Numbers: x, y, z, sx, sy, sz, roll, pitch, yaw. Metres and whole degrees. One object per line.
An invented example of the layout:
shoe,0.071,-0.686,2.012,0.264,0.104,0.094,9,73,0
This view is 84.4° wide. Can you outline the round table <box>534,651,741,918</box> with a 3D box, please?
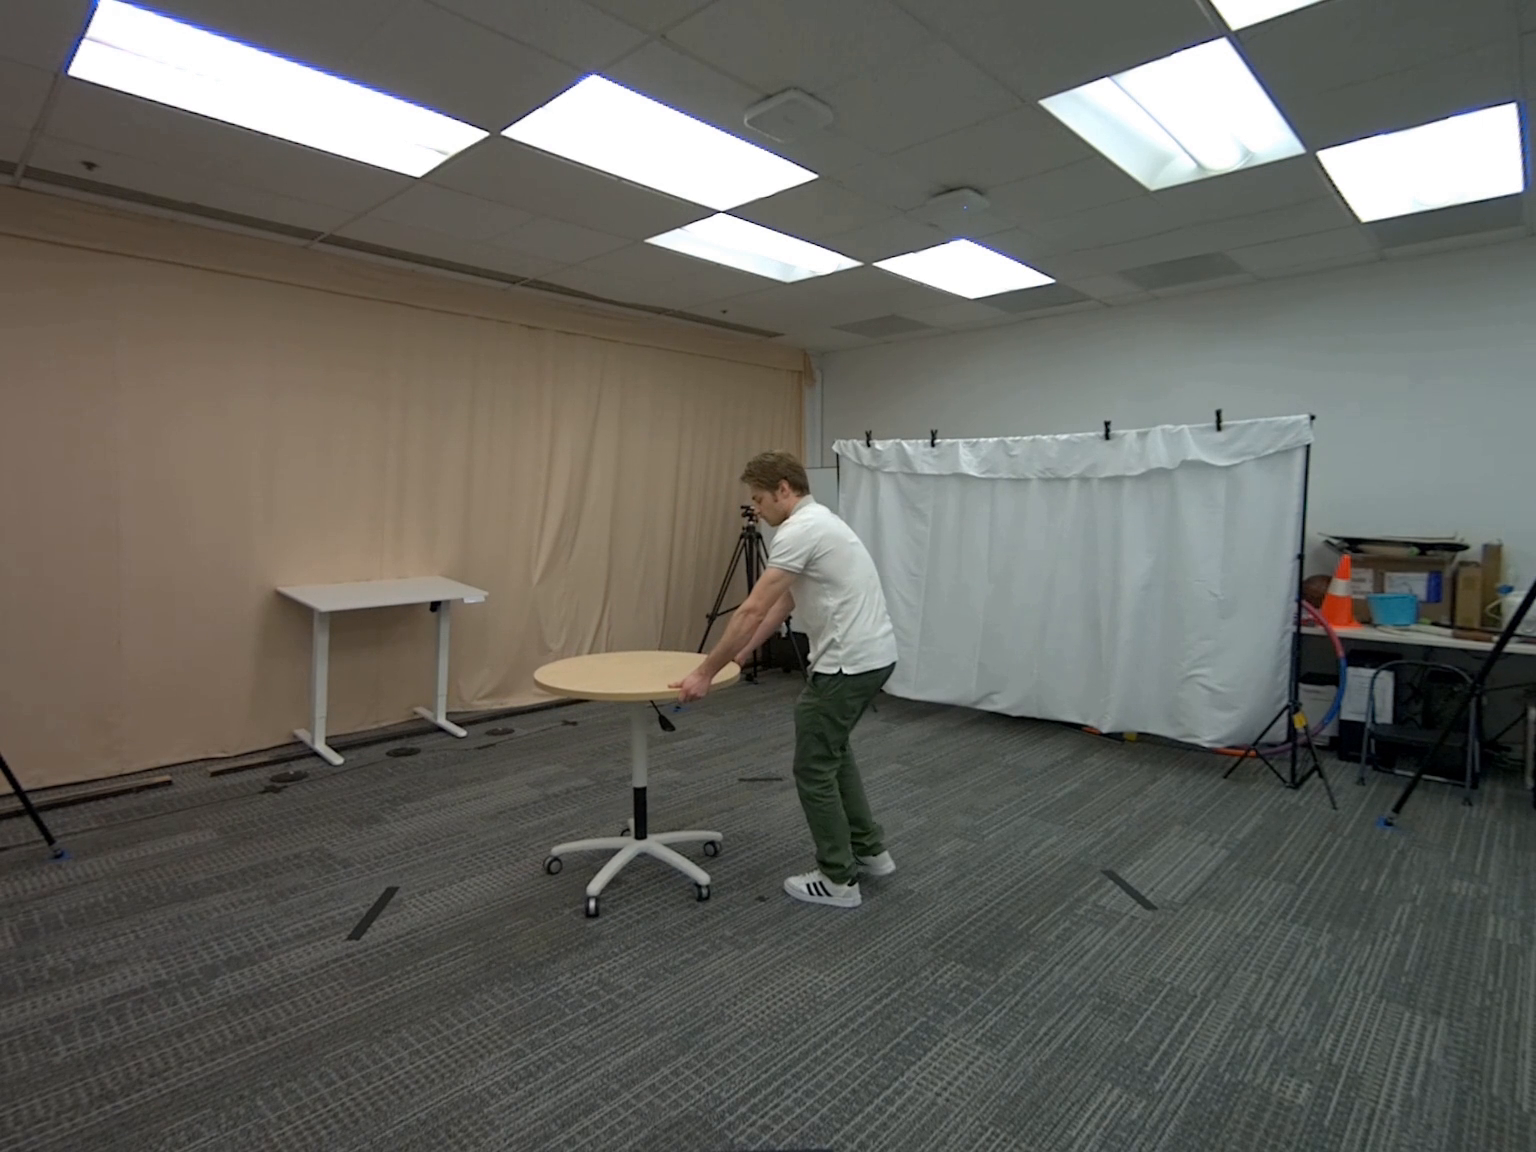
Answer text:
round table,-0.469,0.737,3.170,0.784,0.785,0.788,-1,4,-2
